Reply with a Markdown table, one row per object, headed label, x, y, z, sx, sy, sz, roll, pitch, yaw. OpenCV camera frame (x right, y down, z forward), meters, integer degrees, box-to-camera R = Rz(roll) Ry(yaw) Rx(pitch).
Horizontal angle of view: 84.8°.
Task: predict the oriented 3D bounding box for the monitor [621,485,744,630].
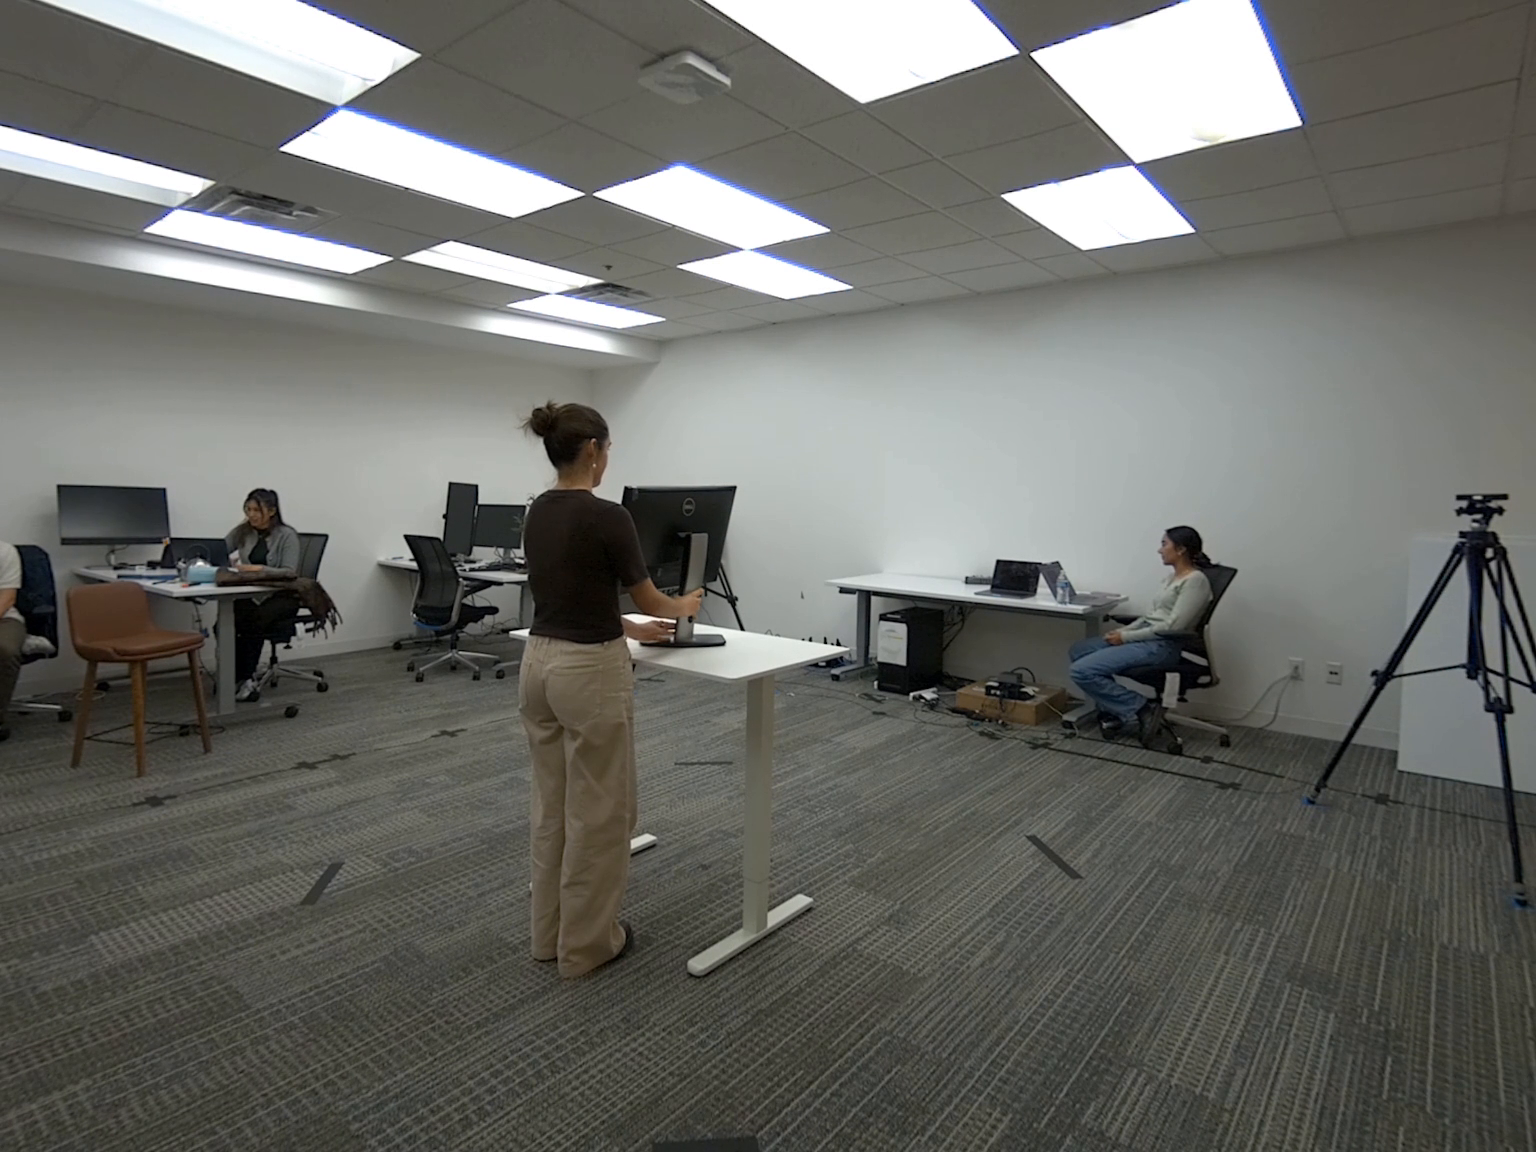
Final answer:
| label | x | y | z | sx | sy | sz | roll | pitch | yaw |
| --- | --- | --- | --- | --- | --- | --- | --- | --- | --- |
| monitor | -0.296 | -0.034 | 2.743 | 0.193 | 0.520 | 0.526 | 1 | 6 | 32 |
